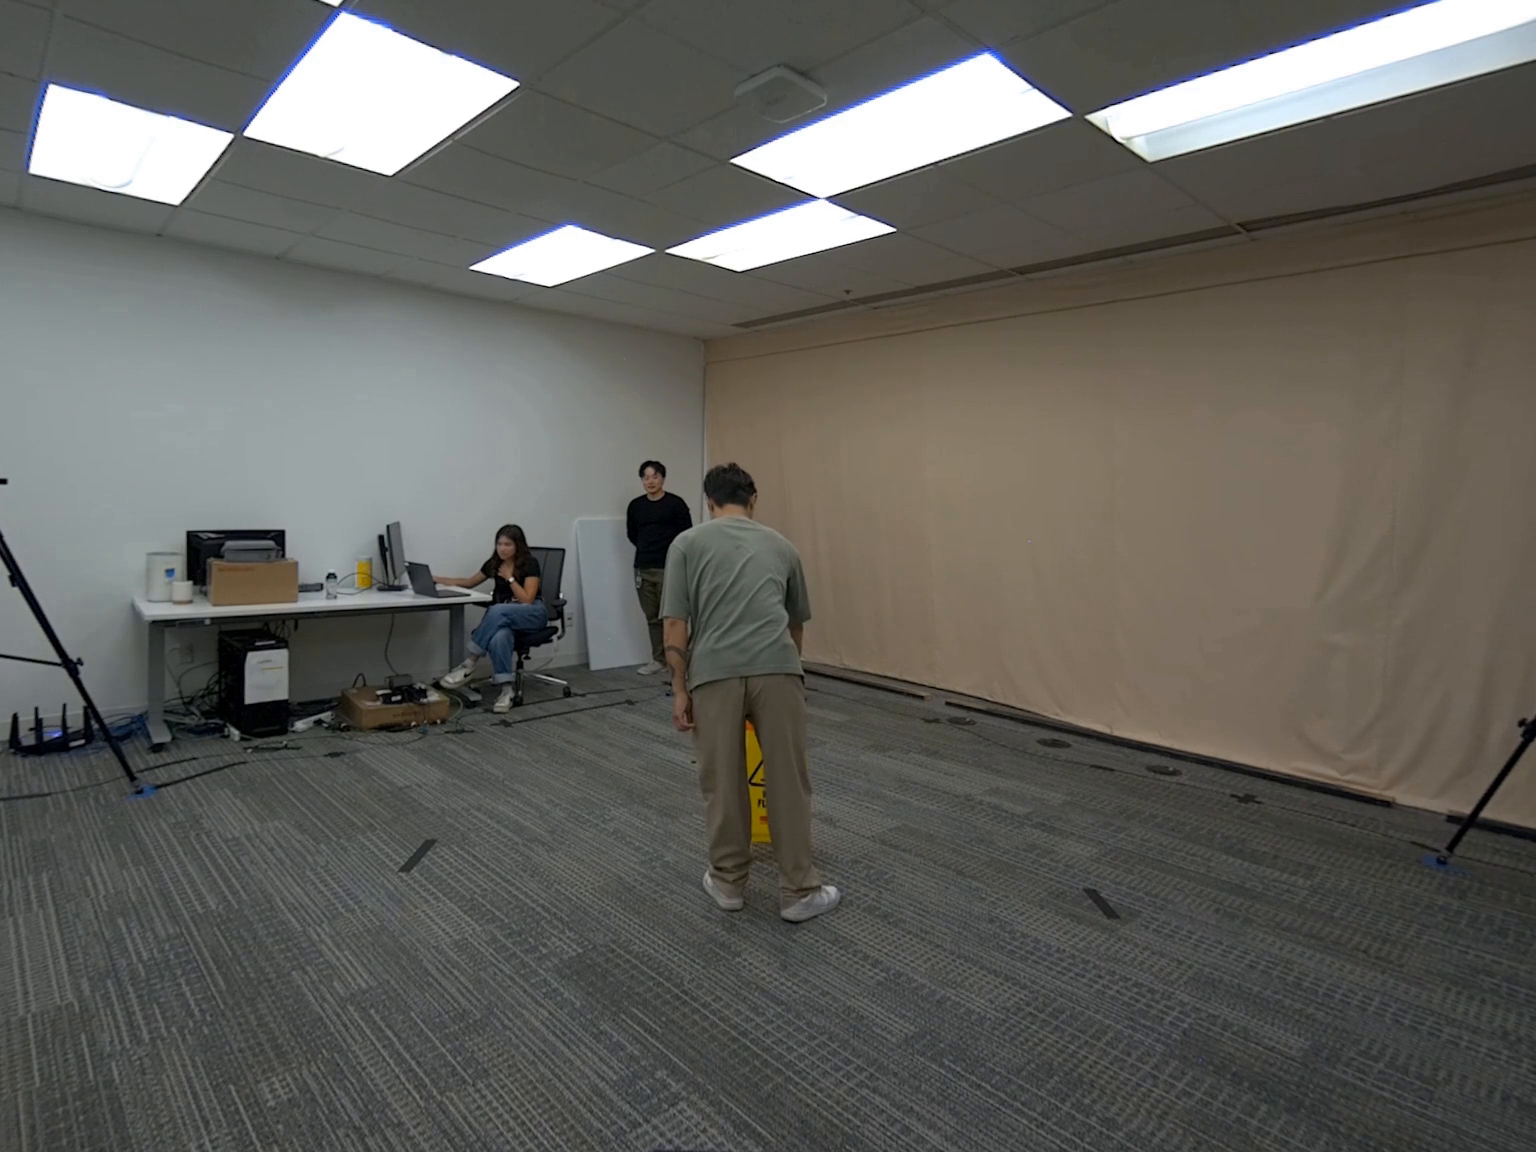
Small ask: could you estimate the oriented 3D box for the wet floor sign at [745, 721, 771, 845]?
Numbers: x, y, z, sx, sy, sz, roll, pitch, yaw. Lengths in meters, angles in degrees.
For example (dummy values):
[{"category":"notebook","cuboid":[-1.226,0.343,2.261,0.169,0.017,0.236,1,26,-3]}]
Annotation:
[{"category":"wet floor sign","cuboid":[0.010,0.777,3.327,0.285,0.645,0.287,2,2,11]}]
